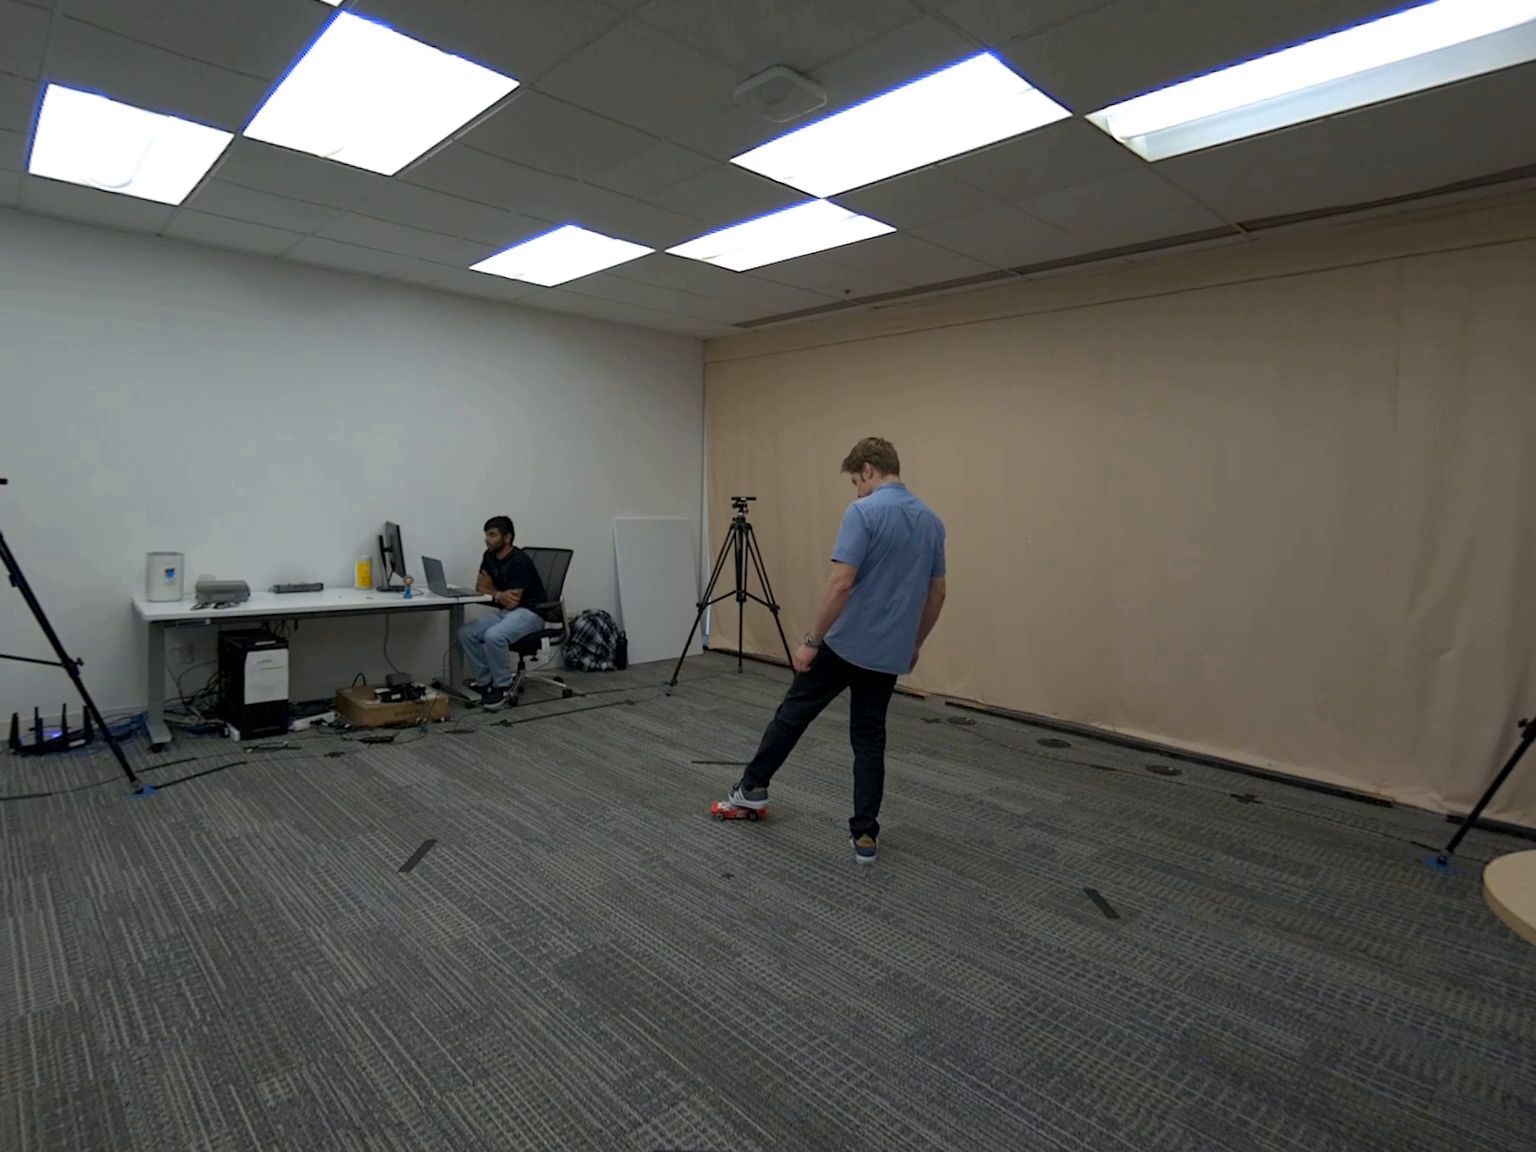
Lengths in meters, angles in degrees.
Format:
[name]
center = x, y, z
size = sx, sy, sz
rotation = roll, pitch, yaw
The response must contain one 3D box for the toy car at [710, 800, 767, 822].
[toy car]
center = -0.127, 1.026, 3.694
size = 0.254, 0.083, 0.131
rotation = -11, 4, -3
